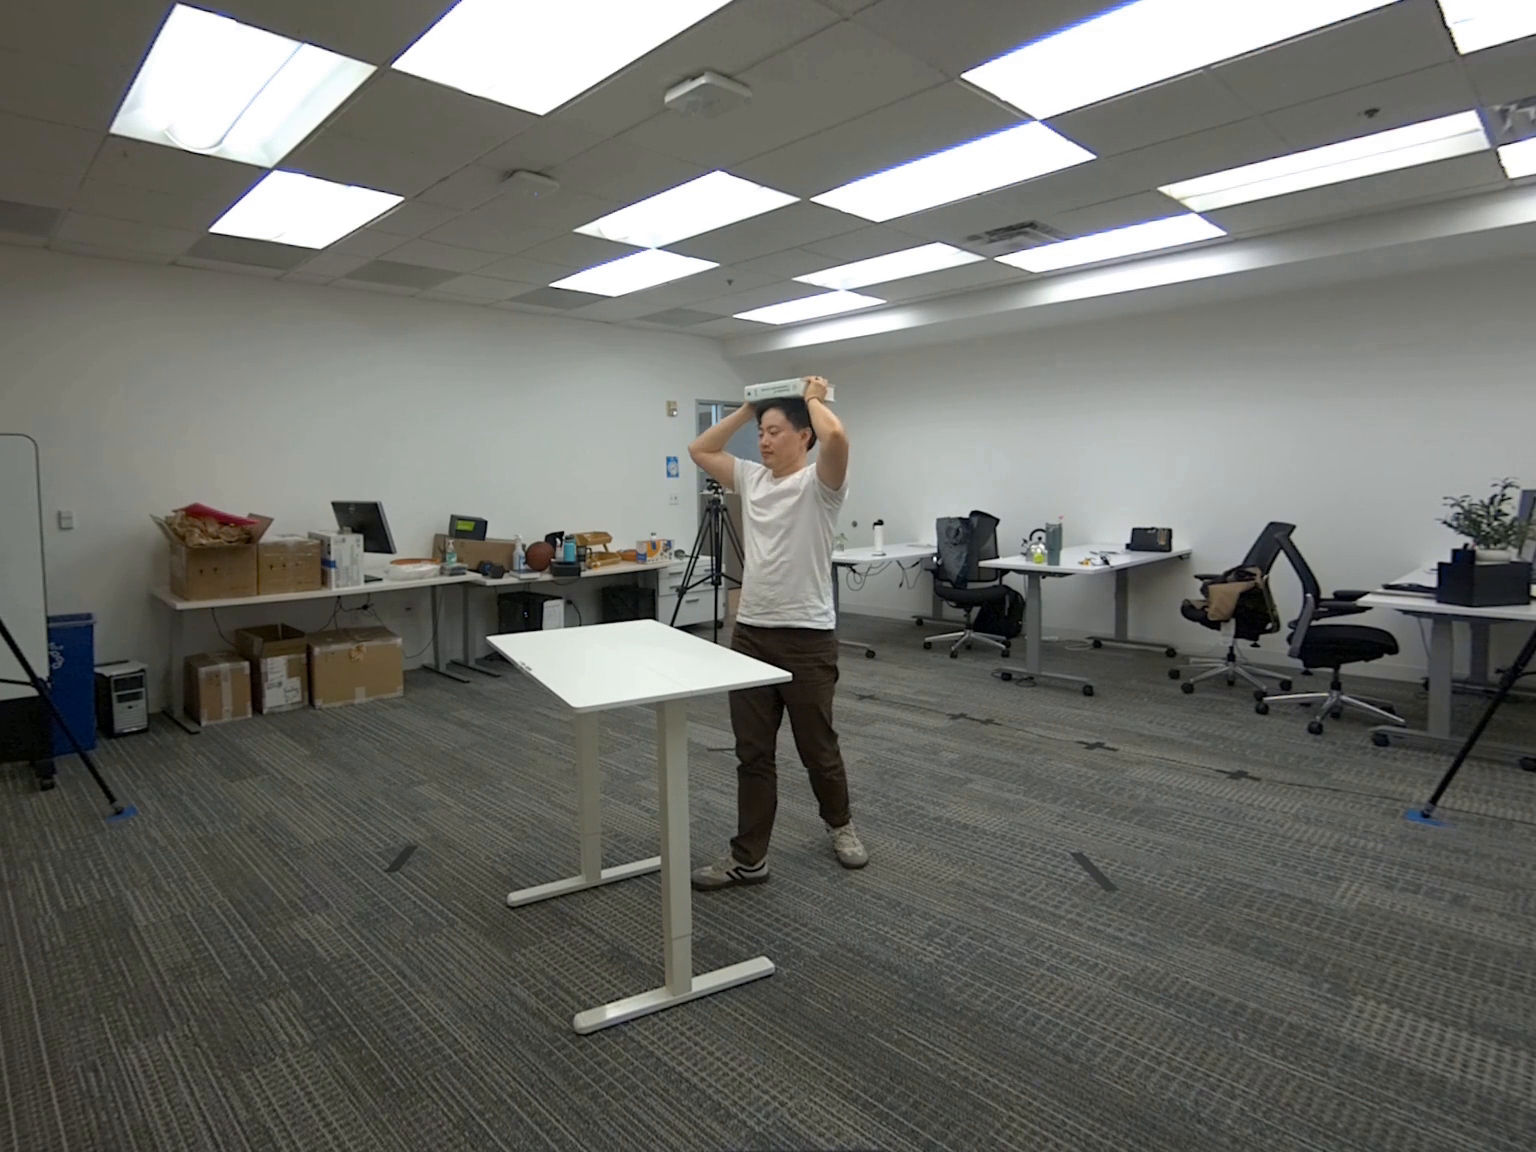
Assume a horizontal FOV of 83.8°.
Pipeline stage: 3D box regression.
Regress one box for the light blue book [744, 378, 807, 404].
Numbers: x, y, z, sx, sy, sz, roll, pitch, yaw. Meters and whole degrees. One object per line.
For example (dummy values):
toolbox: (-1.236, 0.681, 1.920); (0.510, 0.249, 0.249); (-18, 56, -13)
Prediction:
light blue book: (0.075, -0.635, 2.986); (0.186, 0.059, 0.269); (0, 3, -40)
